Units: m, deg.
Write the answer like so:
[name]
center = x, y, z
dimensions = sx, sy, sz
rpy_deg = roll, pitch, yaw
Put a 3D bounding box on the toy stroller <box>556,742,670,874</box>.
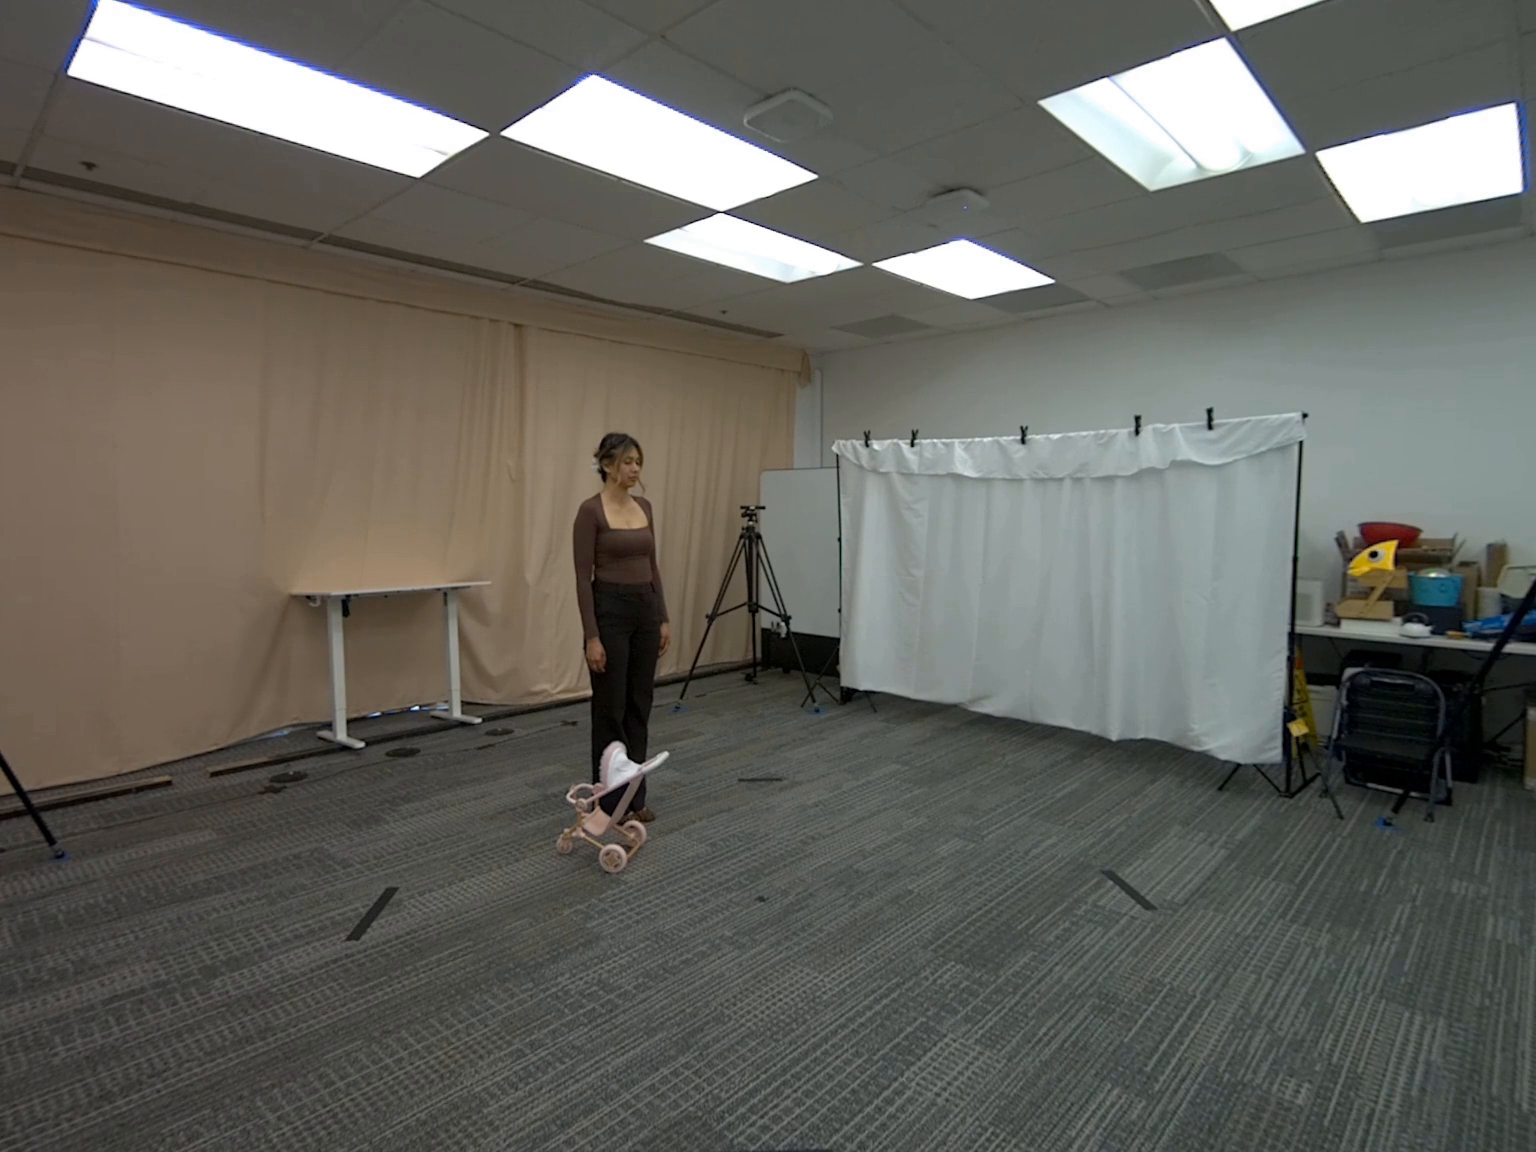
[toy stroller]
center = -0.632, 0.899, 3.340
dimensions = 0.348, 0.534, 0.277
rpy_deg = 18, 7, 15
